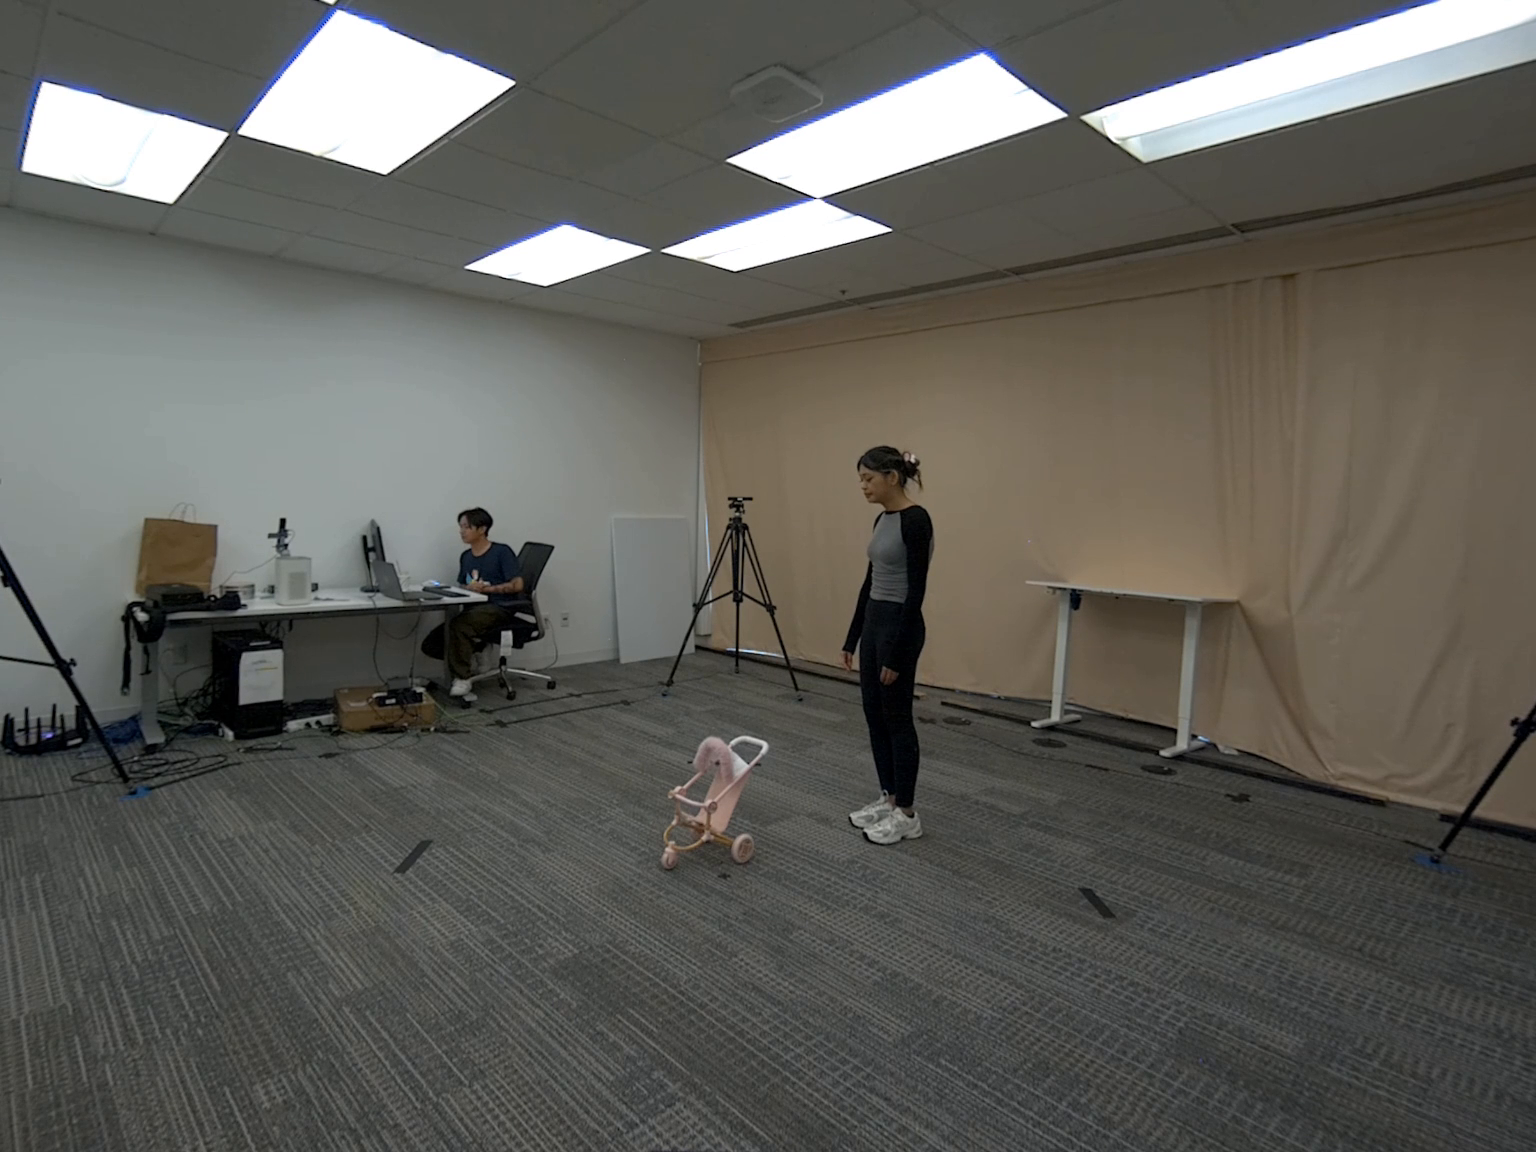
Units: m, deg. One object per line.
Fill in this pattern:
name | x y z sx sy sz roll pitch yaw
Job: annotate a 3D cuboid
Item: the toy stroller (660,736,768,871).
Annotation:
toy stroller | -0.232 0.868 3.267 0.332 0.537 0.288 20 -9 -37
